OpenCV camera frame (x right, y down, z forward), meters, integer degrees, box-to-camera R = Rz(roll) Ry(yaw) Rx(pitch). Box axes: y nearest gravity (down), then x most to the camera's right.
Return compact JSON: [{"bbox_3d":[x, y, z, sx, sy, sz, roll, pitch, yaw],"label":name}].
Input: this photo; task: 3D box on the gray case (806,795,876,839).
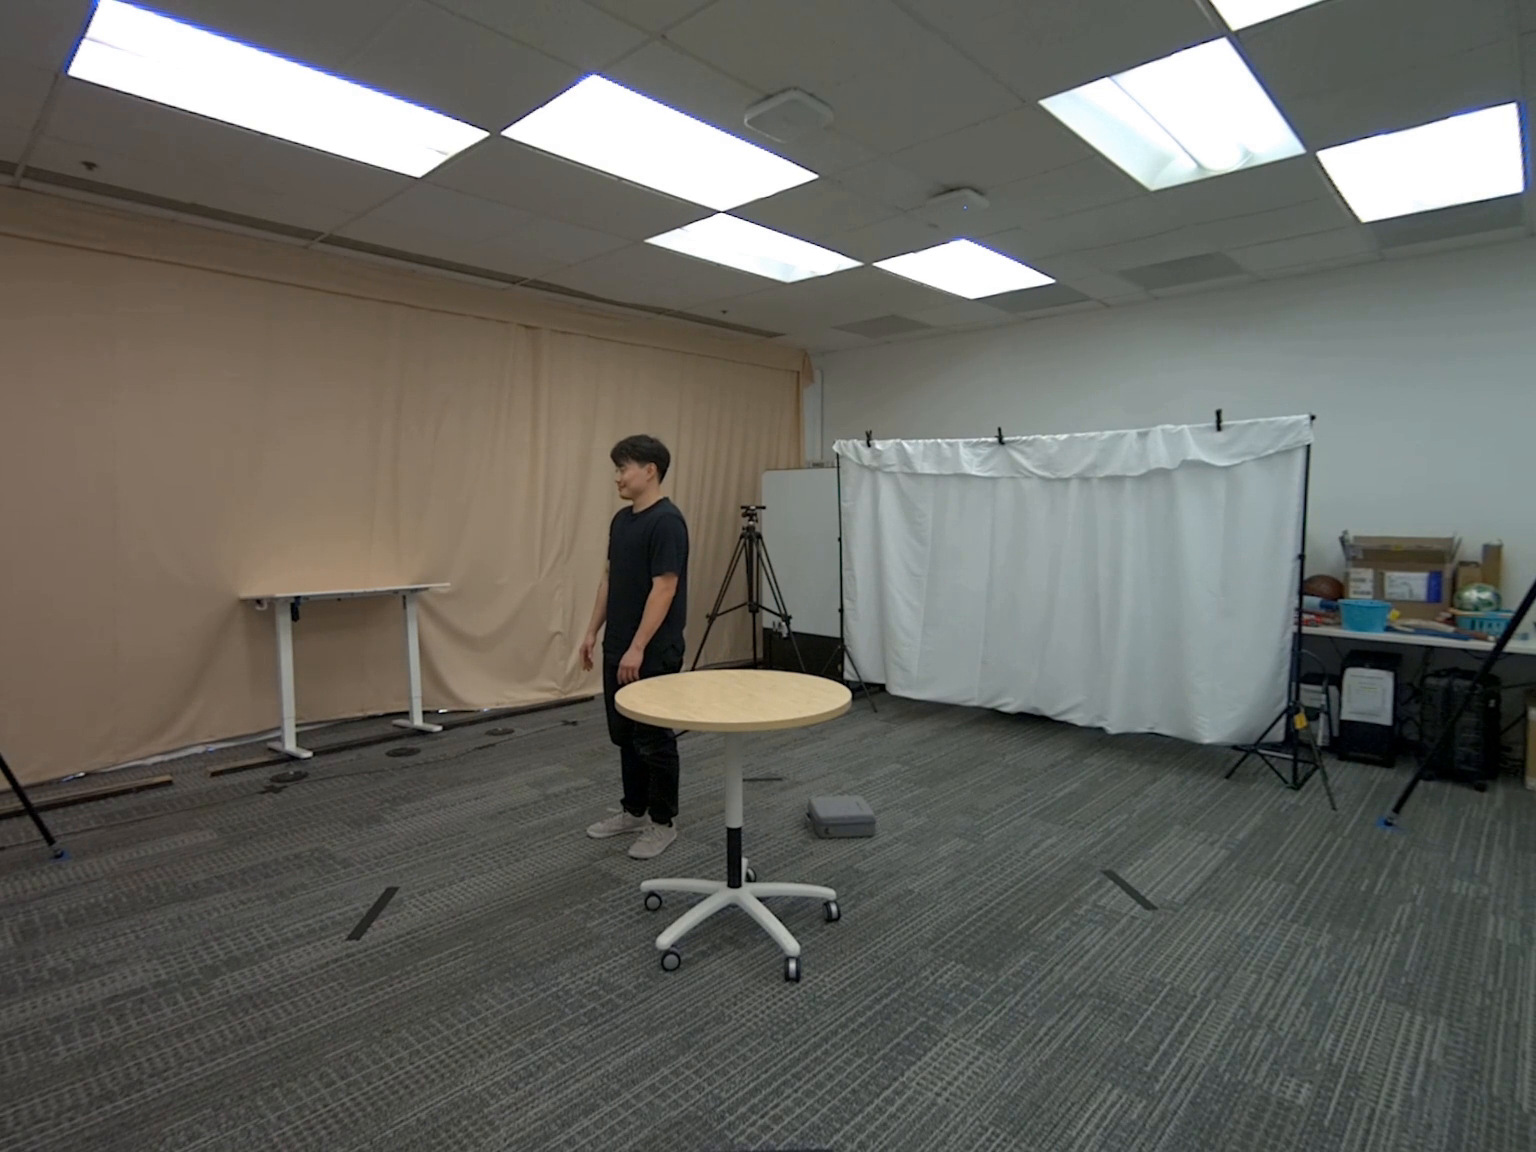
[{"bbox_3d":[0.322,1.032,3.636,0.259,0.104,0.259,0,4,-7],"label":"gray case"}]
